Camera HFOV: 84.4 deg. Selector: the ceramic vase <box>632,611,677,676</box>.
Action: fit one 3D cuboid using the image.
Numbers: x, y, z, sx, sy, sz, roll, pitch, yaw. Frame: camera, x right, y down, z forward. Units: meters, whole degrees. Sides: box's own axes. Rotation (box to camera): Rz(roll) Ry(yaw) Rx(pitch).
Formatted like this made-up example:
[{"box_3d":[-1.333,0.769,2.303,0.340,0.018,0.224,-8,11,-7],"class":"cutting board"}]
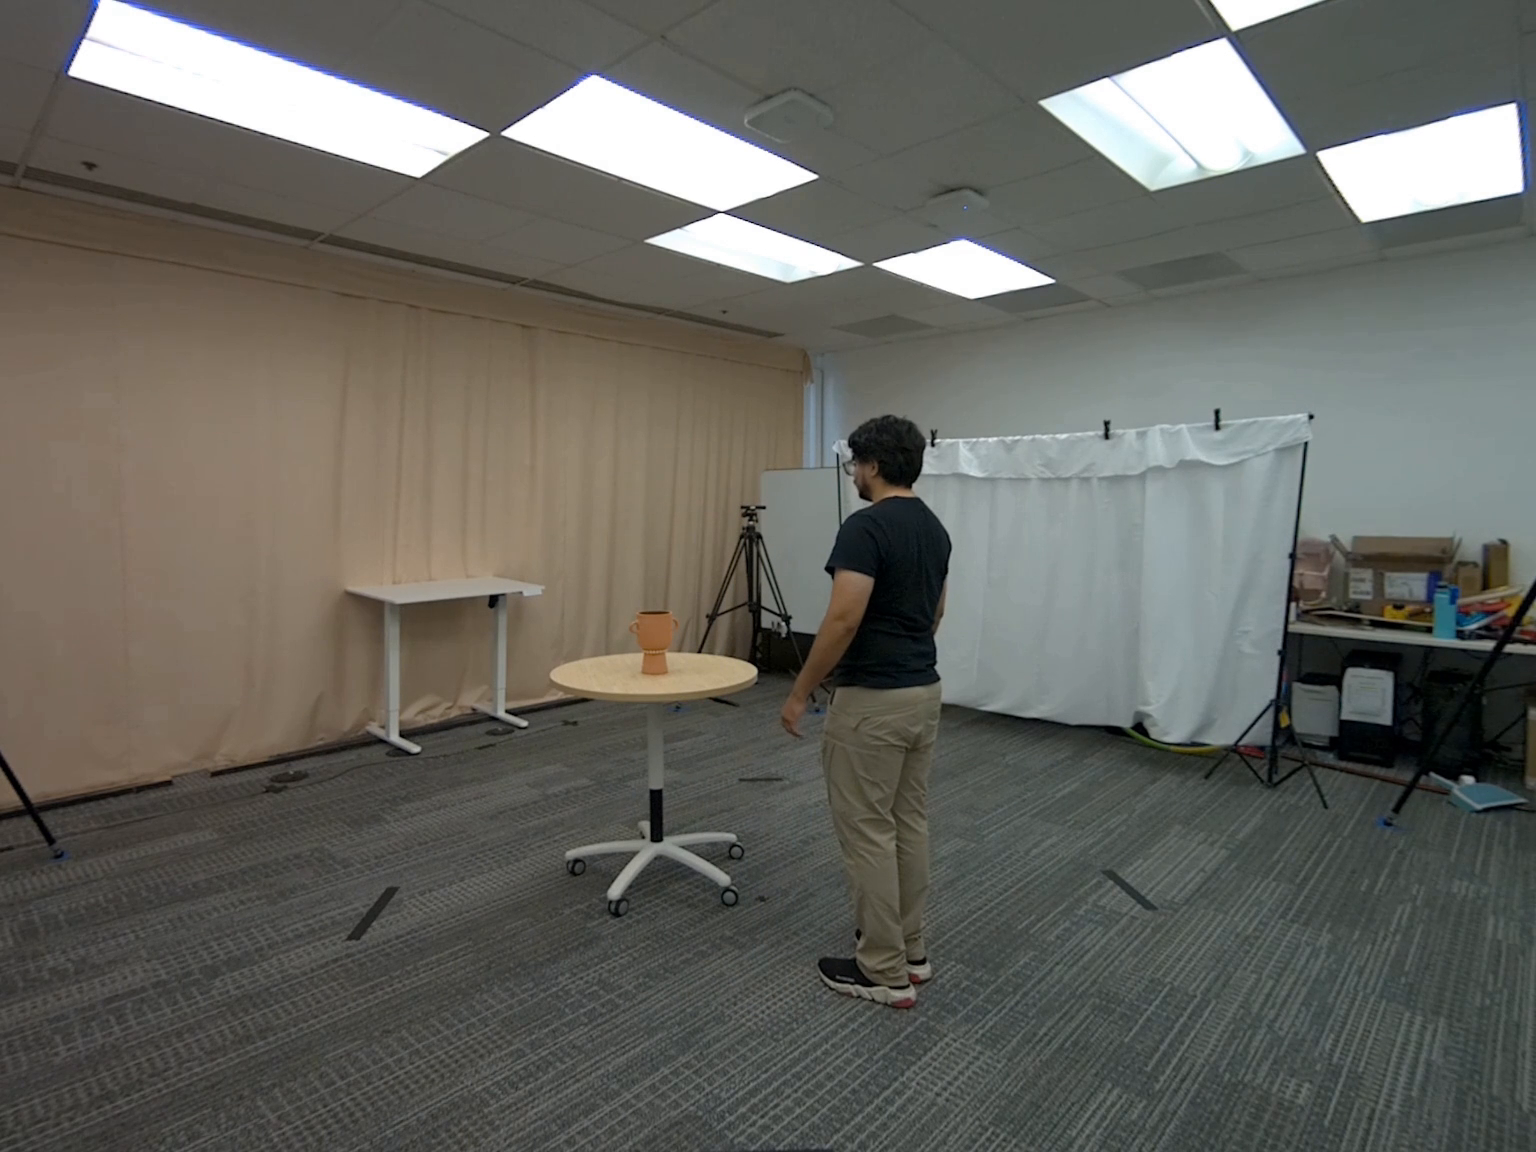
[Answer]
[{"box_3d":[-0.424,0.248,3.095,0.160,0.219,0.133,0,4,8],"class":"ceramic vase"}]
